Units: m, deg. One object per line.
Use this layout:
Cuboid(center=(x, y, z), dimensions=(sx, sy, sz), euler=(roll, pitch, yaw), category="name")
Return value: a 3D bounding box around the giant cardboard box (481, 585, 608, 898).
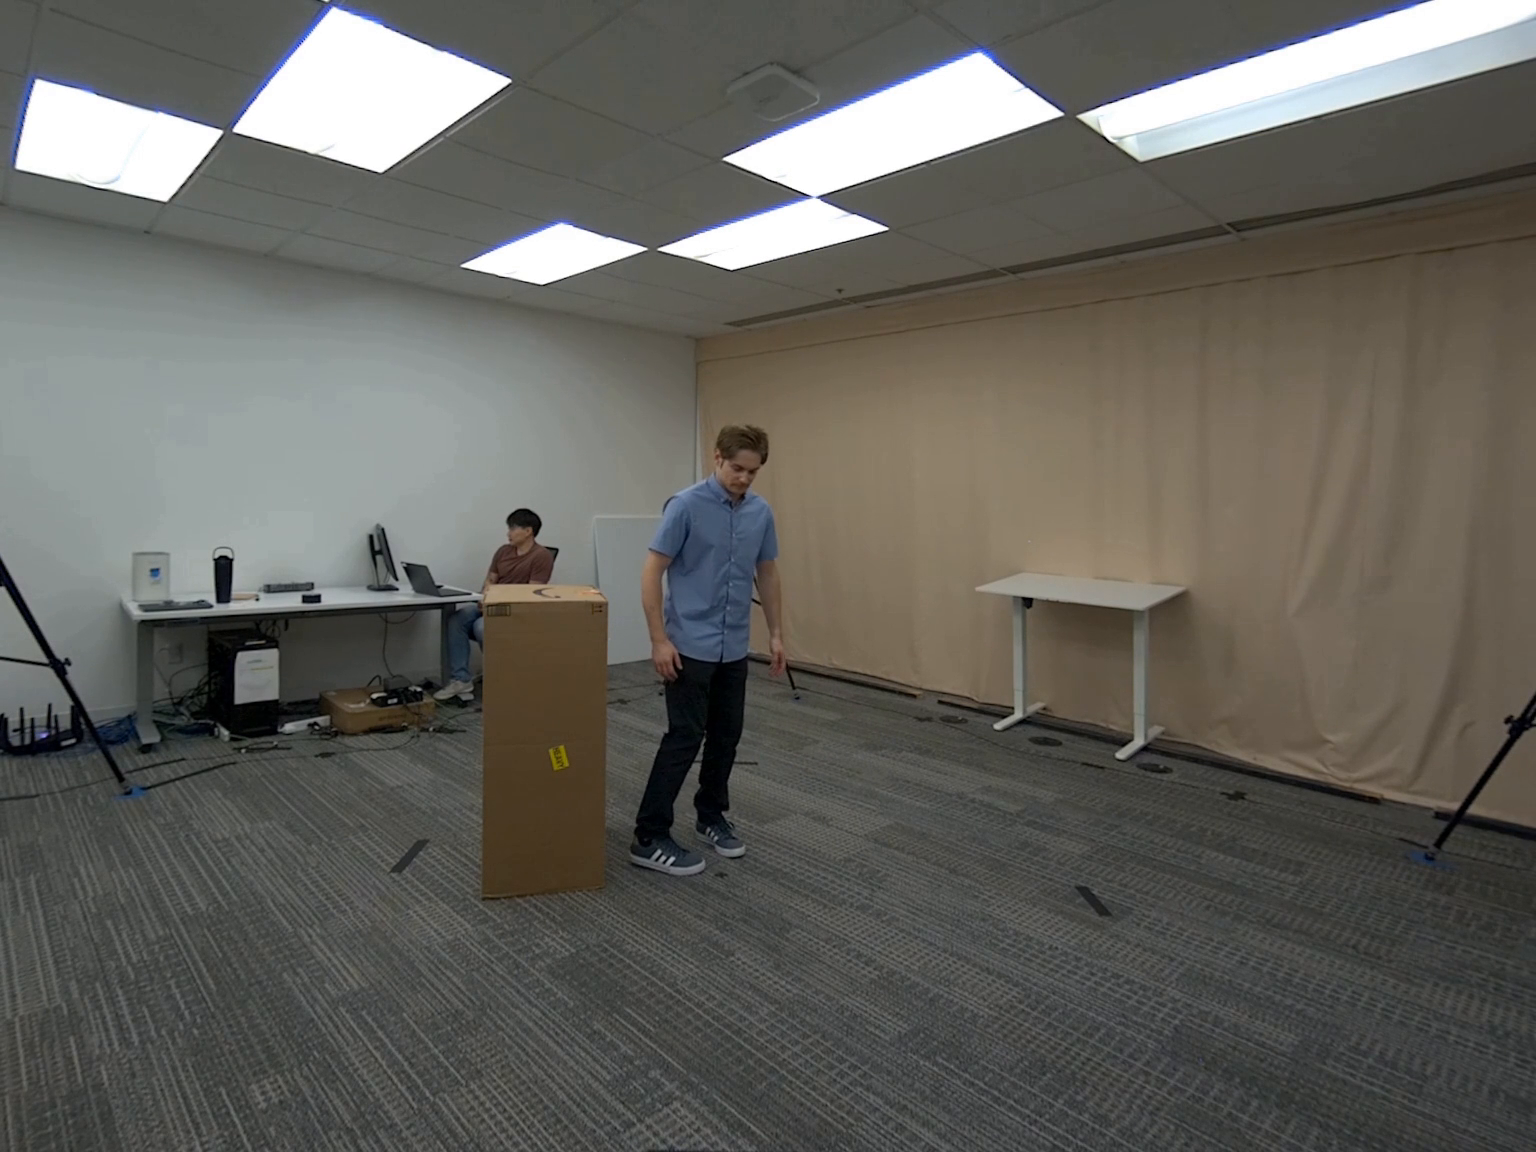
Cuboid(center=(-0.857, 0.577, 3.171), dimensions=(0.441, 1.025, 0.593), euler=(0, 3, -17), category="giant cardboard box")
